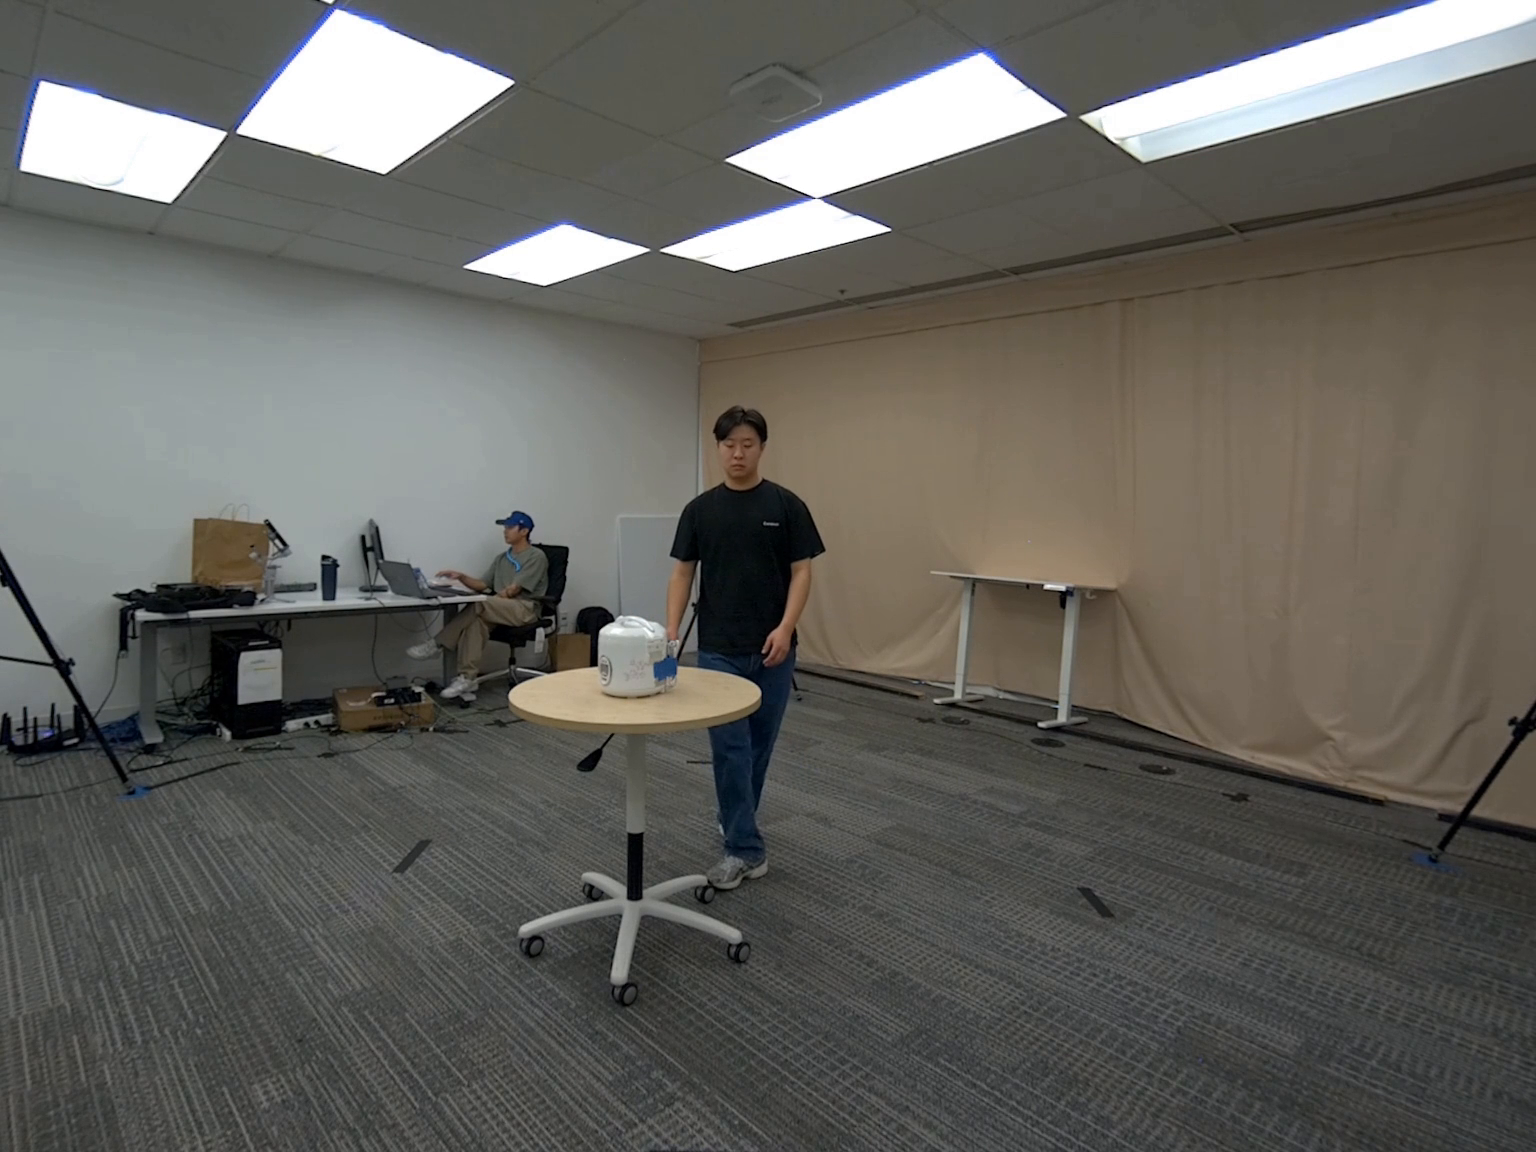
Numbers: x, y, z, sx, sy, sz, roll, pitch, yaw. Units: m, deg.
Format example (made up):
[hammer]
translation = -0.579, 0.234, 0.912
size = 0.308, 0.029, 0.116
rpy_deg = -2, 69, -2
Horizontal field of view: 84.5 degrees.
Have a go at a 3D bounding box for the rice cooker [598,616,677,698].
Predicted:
[rice cooker]
translation = -0.418, 0.243, 2.552
size = 0.226, 0.232, 0.212
rpy_deg = 4, 4, 42
